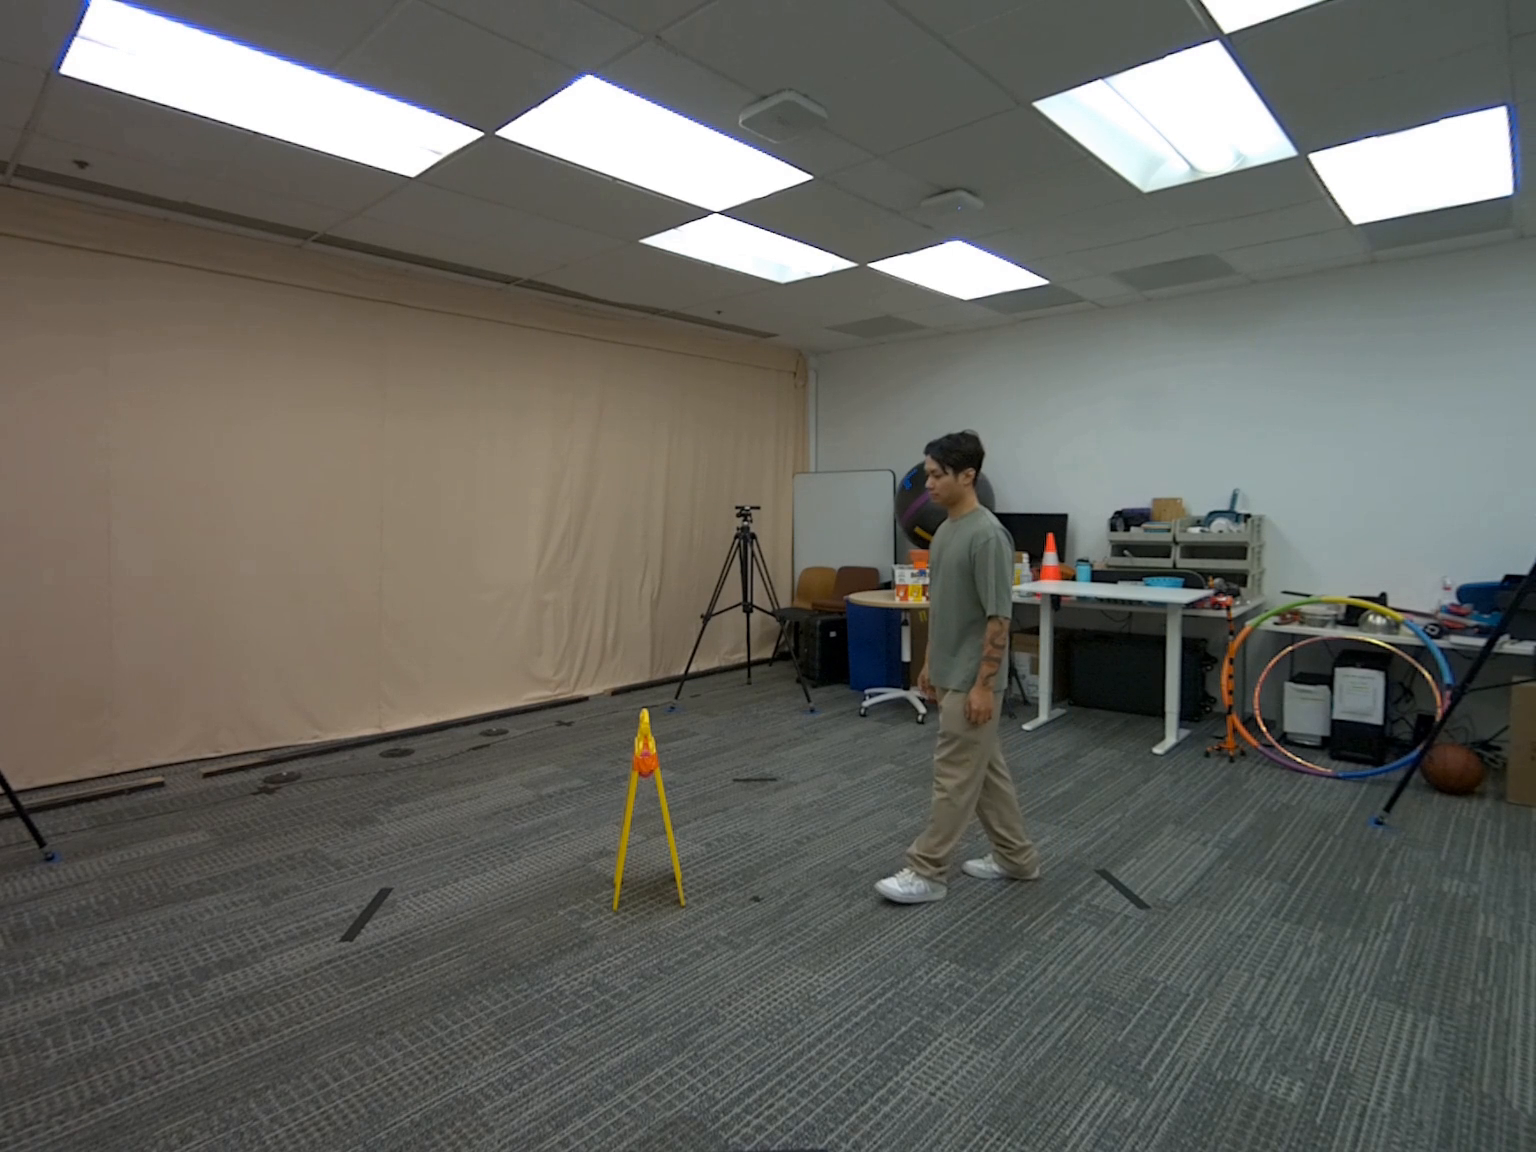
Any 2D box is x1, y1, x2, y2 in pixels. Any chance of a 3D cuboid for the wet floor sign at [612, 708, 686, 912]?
[{"bbox_3d":[-0.434,0.822,3.035,0.288,0.645,0.285,-1,2,-8],"label":"wet floor sign"}]
